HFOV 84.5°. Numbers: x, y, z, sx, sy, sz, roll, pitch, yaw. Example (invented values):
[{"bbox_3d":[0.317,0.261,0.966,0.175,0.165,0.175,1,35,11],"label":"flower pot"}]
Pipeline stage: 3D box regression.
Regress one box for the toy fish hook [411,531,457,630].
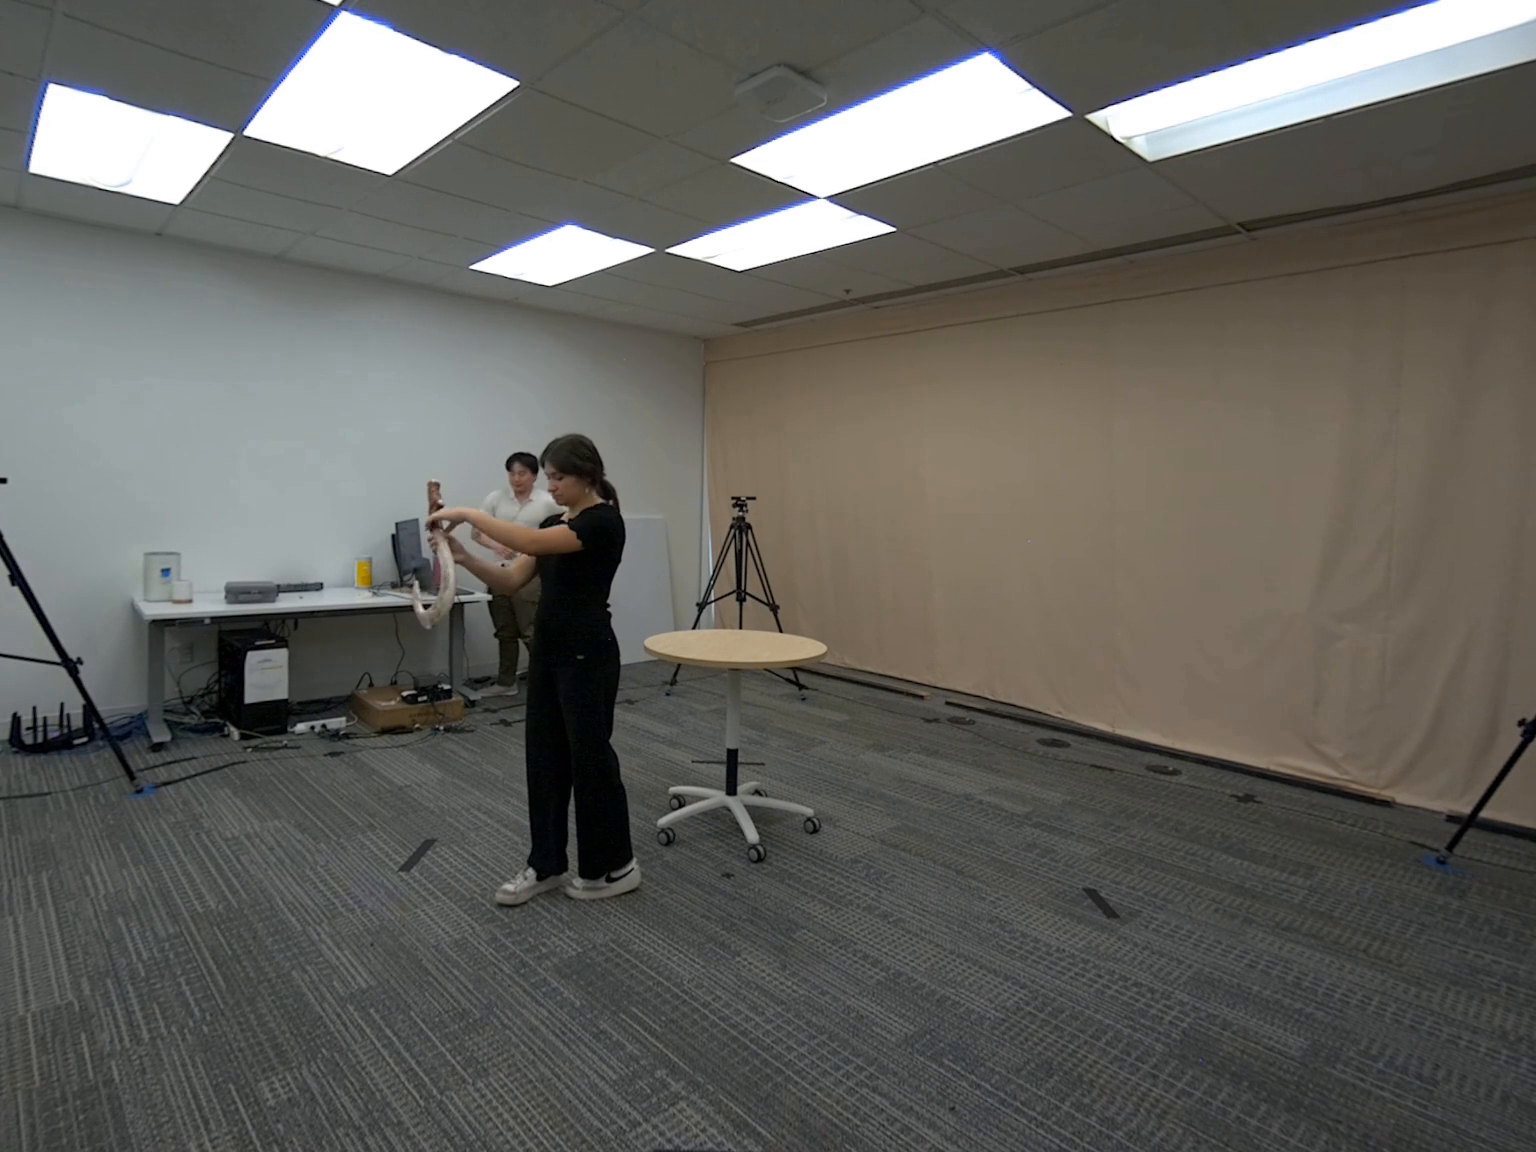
[{"bbox_3d":[-1.074,-0.076,2.656,0.226,0.519,0.047,-30,-32,23],"label":"toy fish hook"}]
